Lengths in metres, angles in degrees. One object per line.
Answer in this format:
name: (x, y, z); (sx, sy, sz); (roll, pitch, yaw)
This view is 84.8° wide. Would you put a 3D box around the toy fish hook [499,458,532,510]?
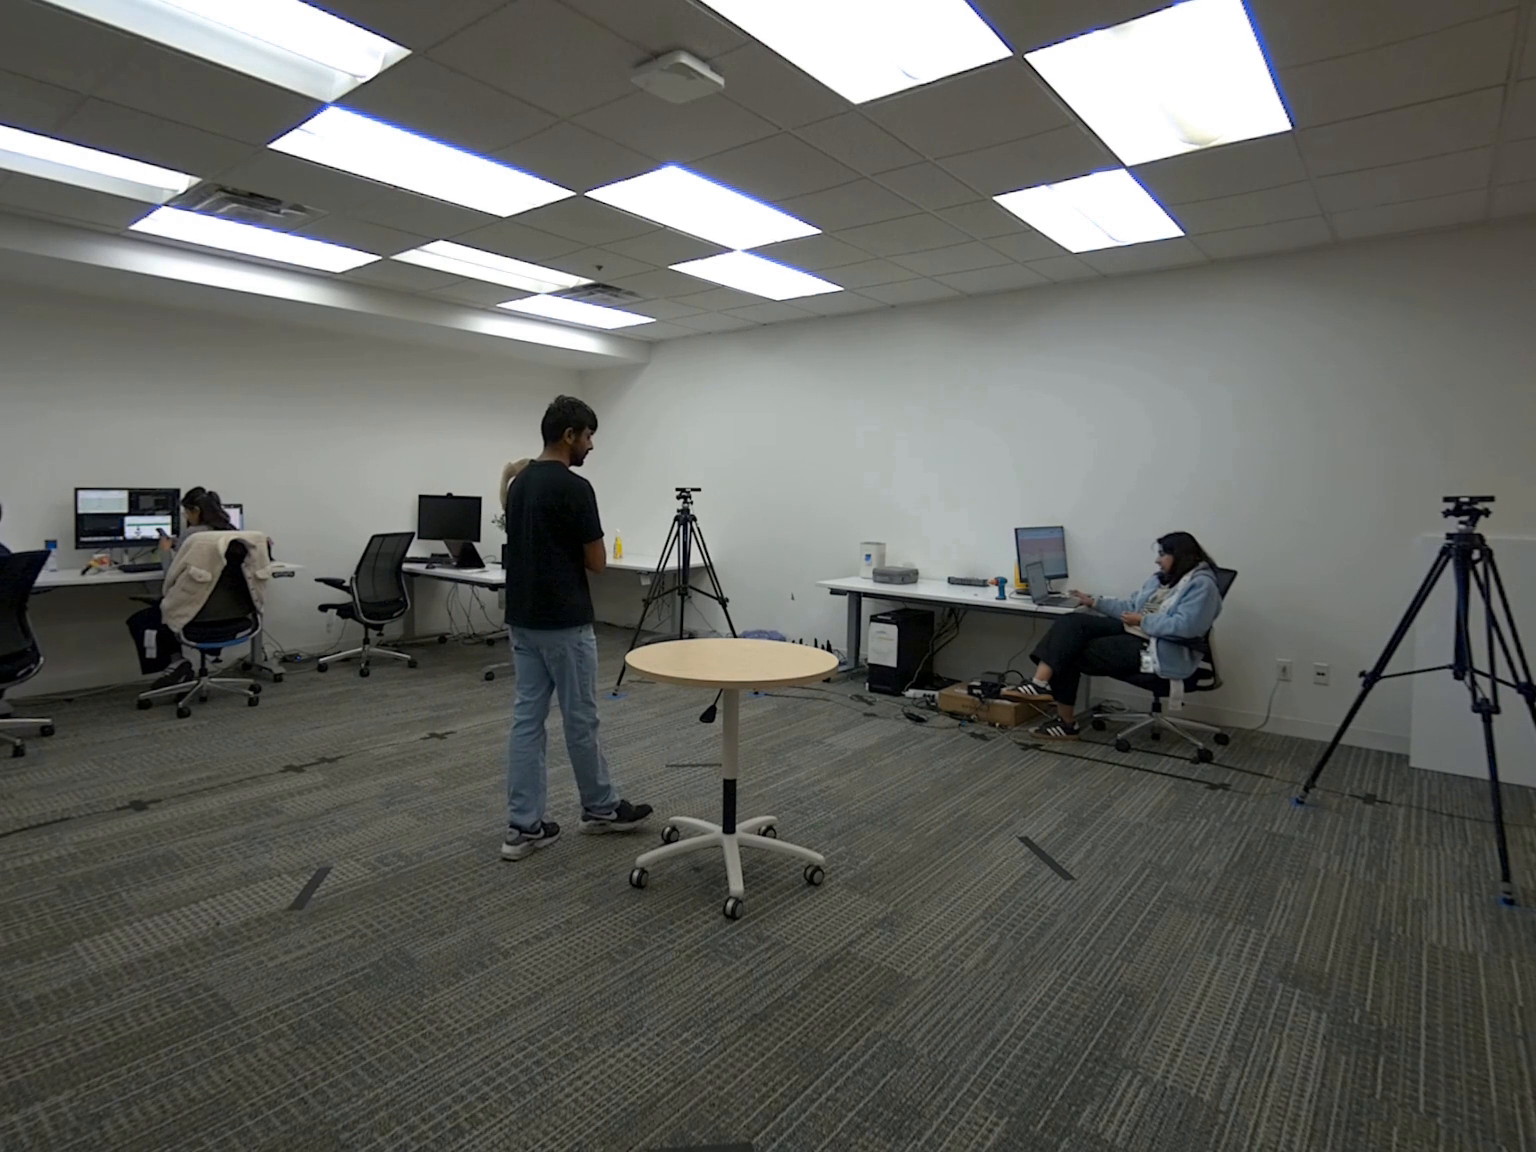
toy fish hook: (-0.937, -0.223, 3.395); (0.220, 0.502, 0.050); (-18, 9, -32)
